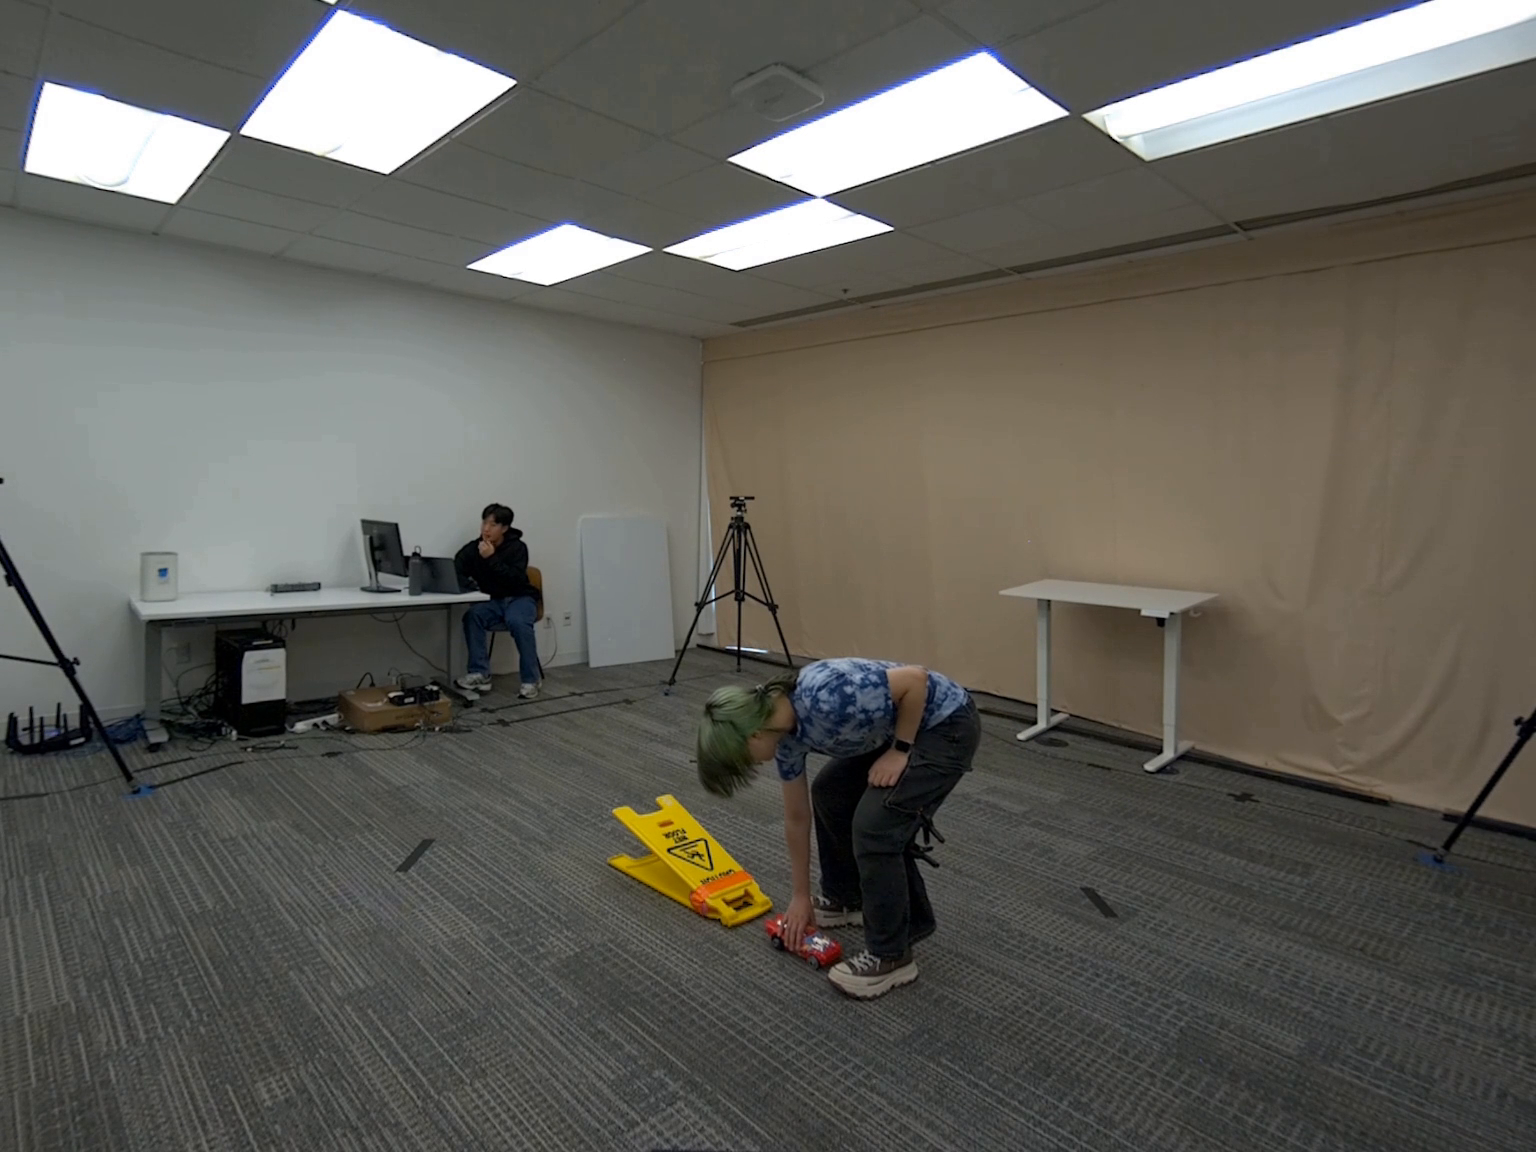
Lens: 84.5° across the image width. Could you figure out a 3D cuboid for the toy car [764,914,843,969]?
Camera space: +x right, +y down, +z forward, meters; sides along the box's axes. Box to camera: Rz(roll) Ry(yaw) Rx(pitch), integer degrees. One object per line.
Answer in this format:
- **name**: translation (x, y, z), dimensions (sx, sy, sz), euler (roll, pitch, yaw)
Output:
- **toy car**: translation (0.099, 1.129, 2.600), dimensions (0.262, 0.082, 0.127), euler (19, 18, 41)
